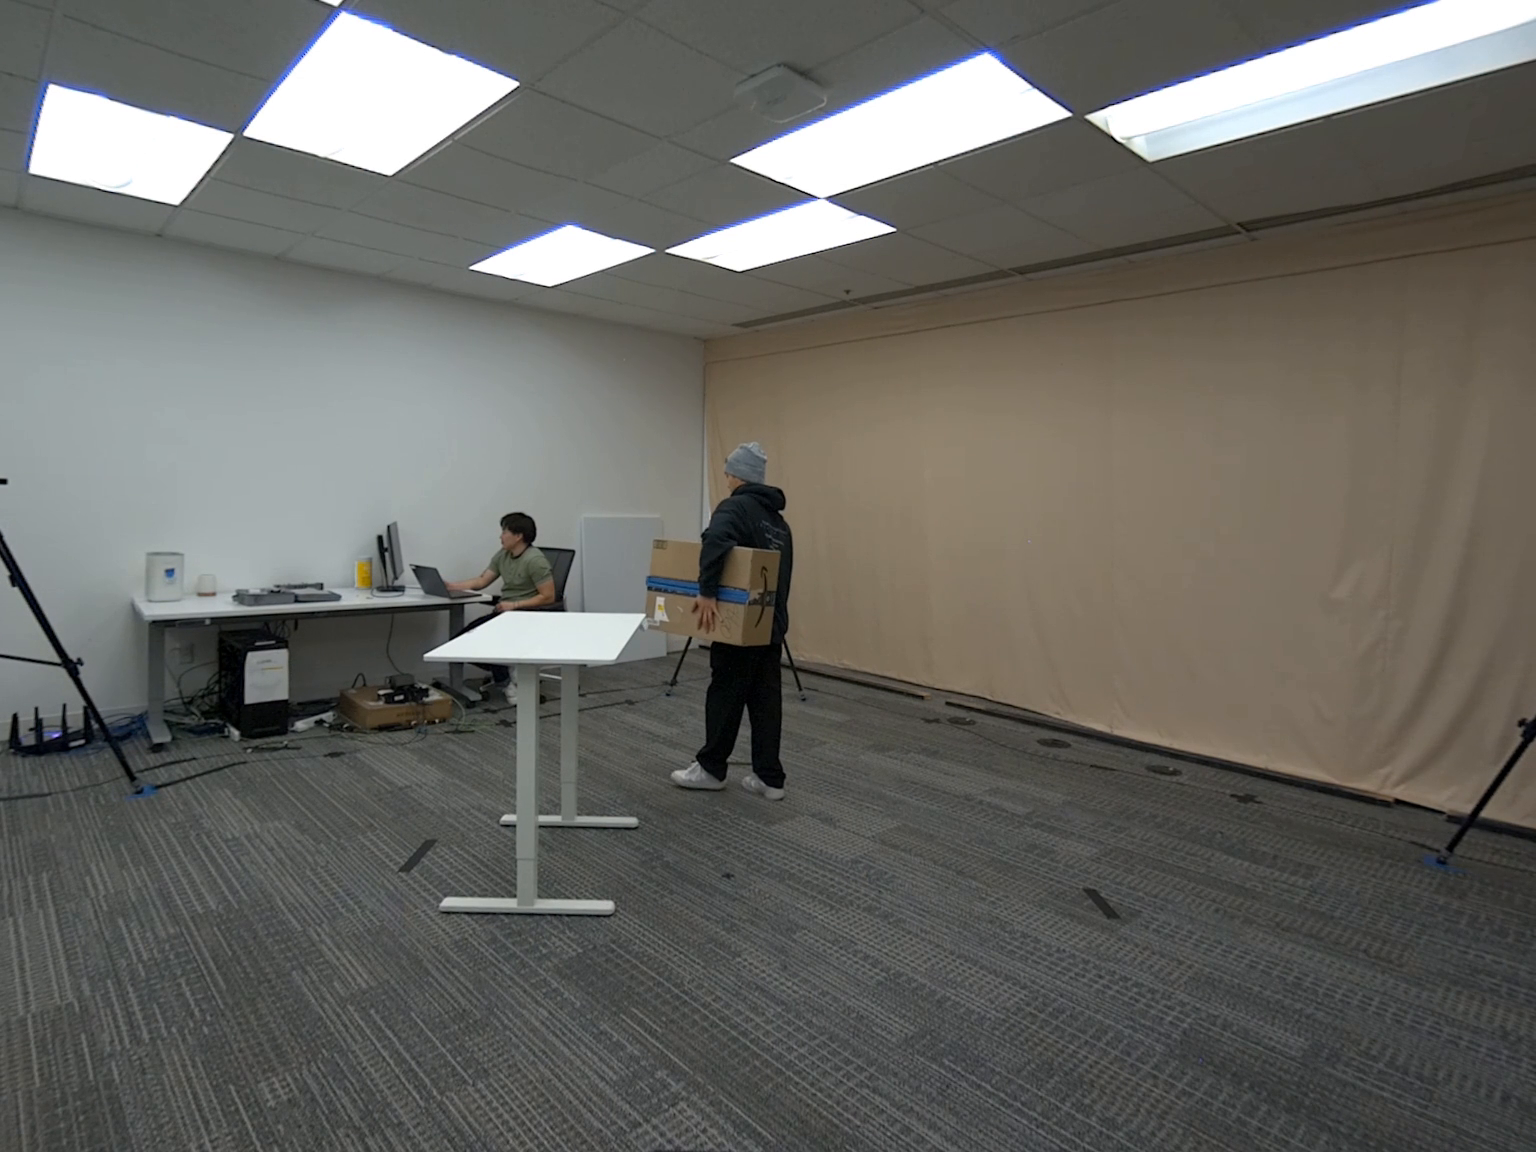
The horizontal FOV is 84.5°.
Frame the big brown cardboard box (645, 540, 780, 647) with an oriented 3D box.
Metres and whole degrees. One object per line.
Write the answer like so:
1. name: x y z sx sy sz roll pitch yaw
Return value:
1. big brown cardboard box: -0.275 0.067 3.791 0.603 0.417 0.228 6 1 34
